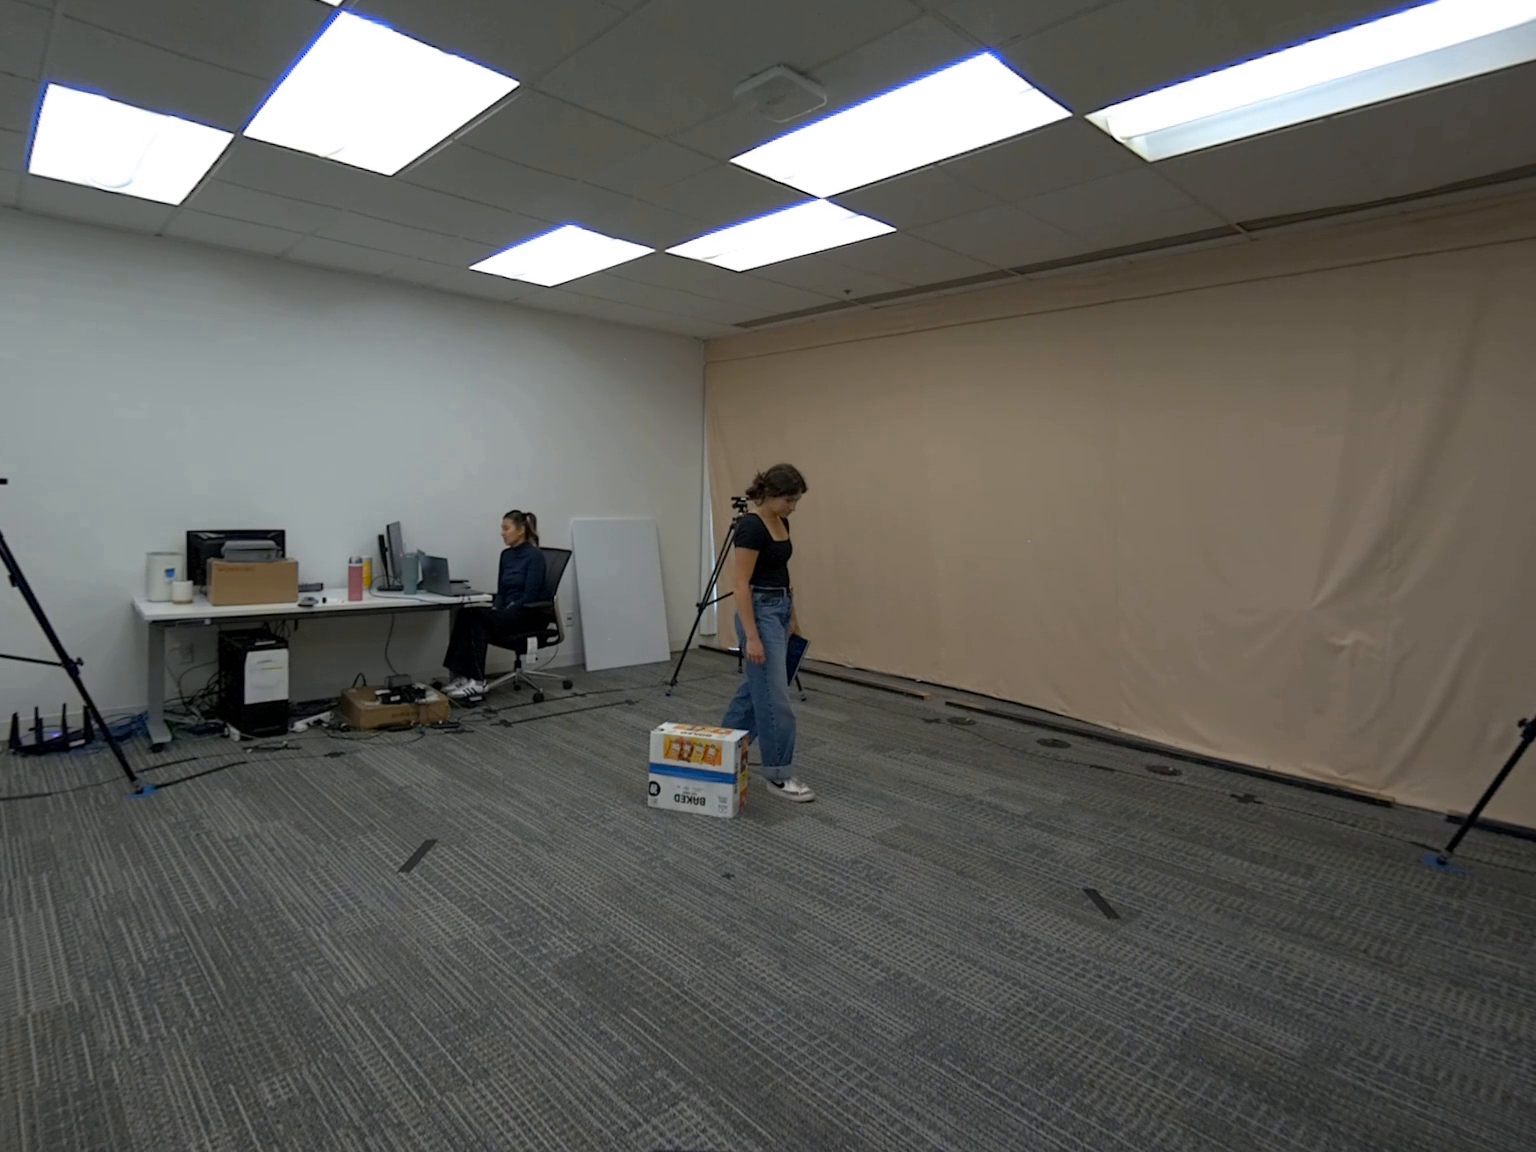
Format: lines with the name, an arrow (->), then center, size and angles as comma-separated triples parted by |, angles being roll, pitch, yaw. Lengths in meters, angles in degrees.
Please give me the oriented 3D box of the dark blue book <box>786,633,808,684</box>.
dark blue book -> 0.081, 0.411, 4.261 | 0.166, 0.245, 0.044 | 21, 3, 19
